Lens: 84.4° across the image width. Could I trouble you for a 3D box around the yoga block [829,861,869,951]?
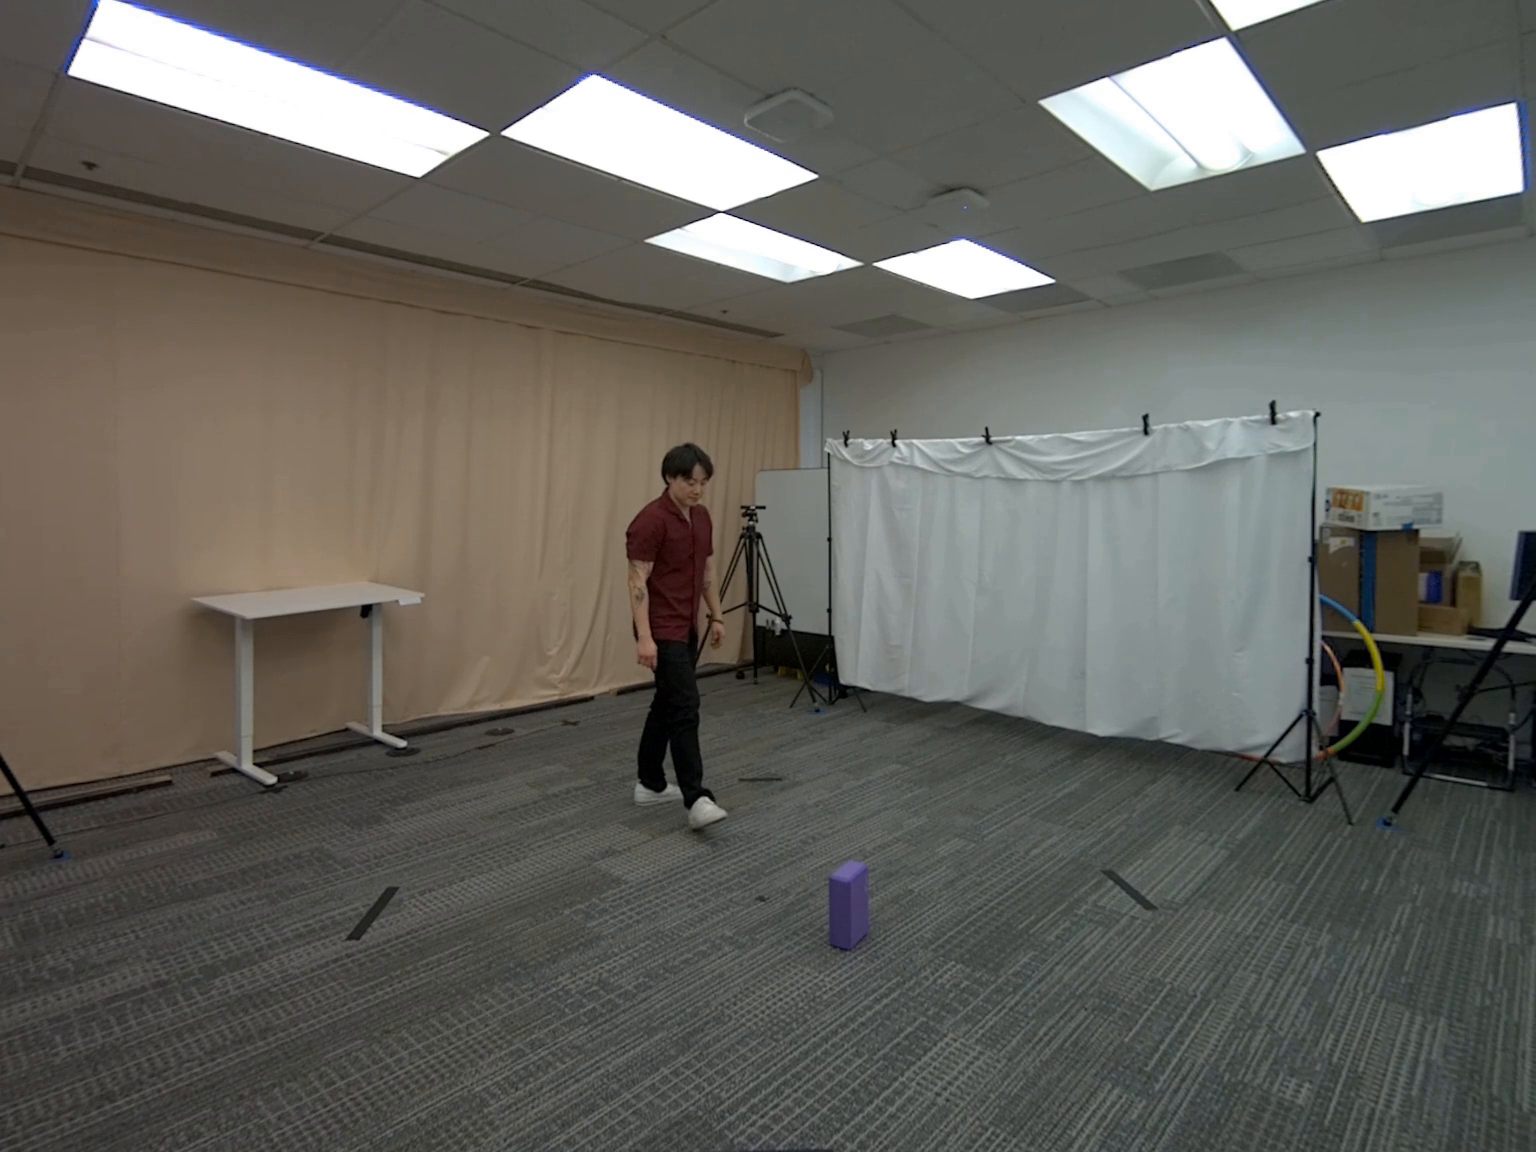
[{"bbox_3d":[0.266,1.051,2.694,0.079,0.229,0.145,2,5,31],"label":"yoga block"}]
